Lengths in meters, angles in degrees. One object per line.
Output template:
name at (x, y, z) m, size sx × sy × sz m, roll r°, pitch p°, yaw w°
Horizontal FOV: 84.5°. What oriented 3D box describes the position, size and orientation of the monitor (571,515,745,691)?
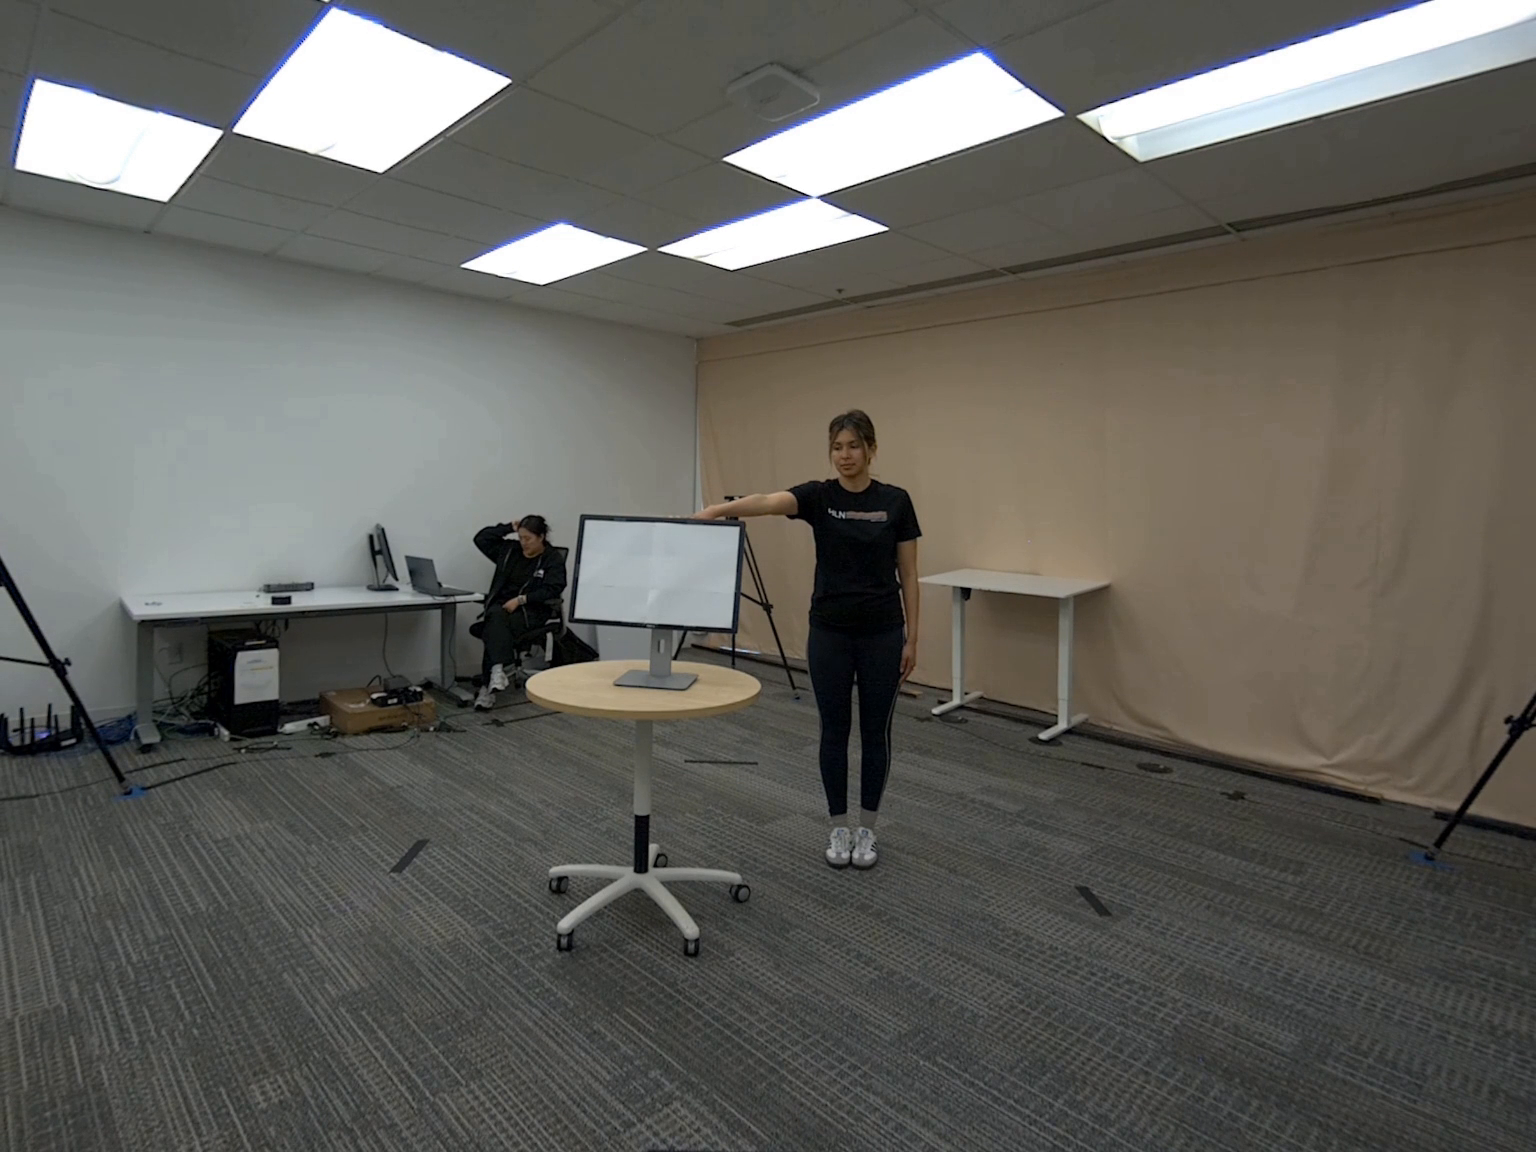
monitor at (-0.359, 0.089, 2.769) m, size 0.543 × 0.521 × 0.186 m, roll 3°, pitch 3°, yaw 9°
